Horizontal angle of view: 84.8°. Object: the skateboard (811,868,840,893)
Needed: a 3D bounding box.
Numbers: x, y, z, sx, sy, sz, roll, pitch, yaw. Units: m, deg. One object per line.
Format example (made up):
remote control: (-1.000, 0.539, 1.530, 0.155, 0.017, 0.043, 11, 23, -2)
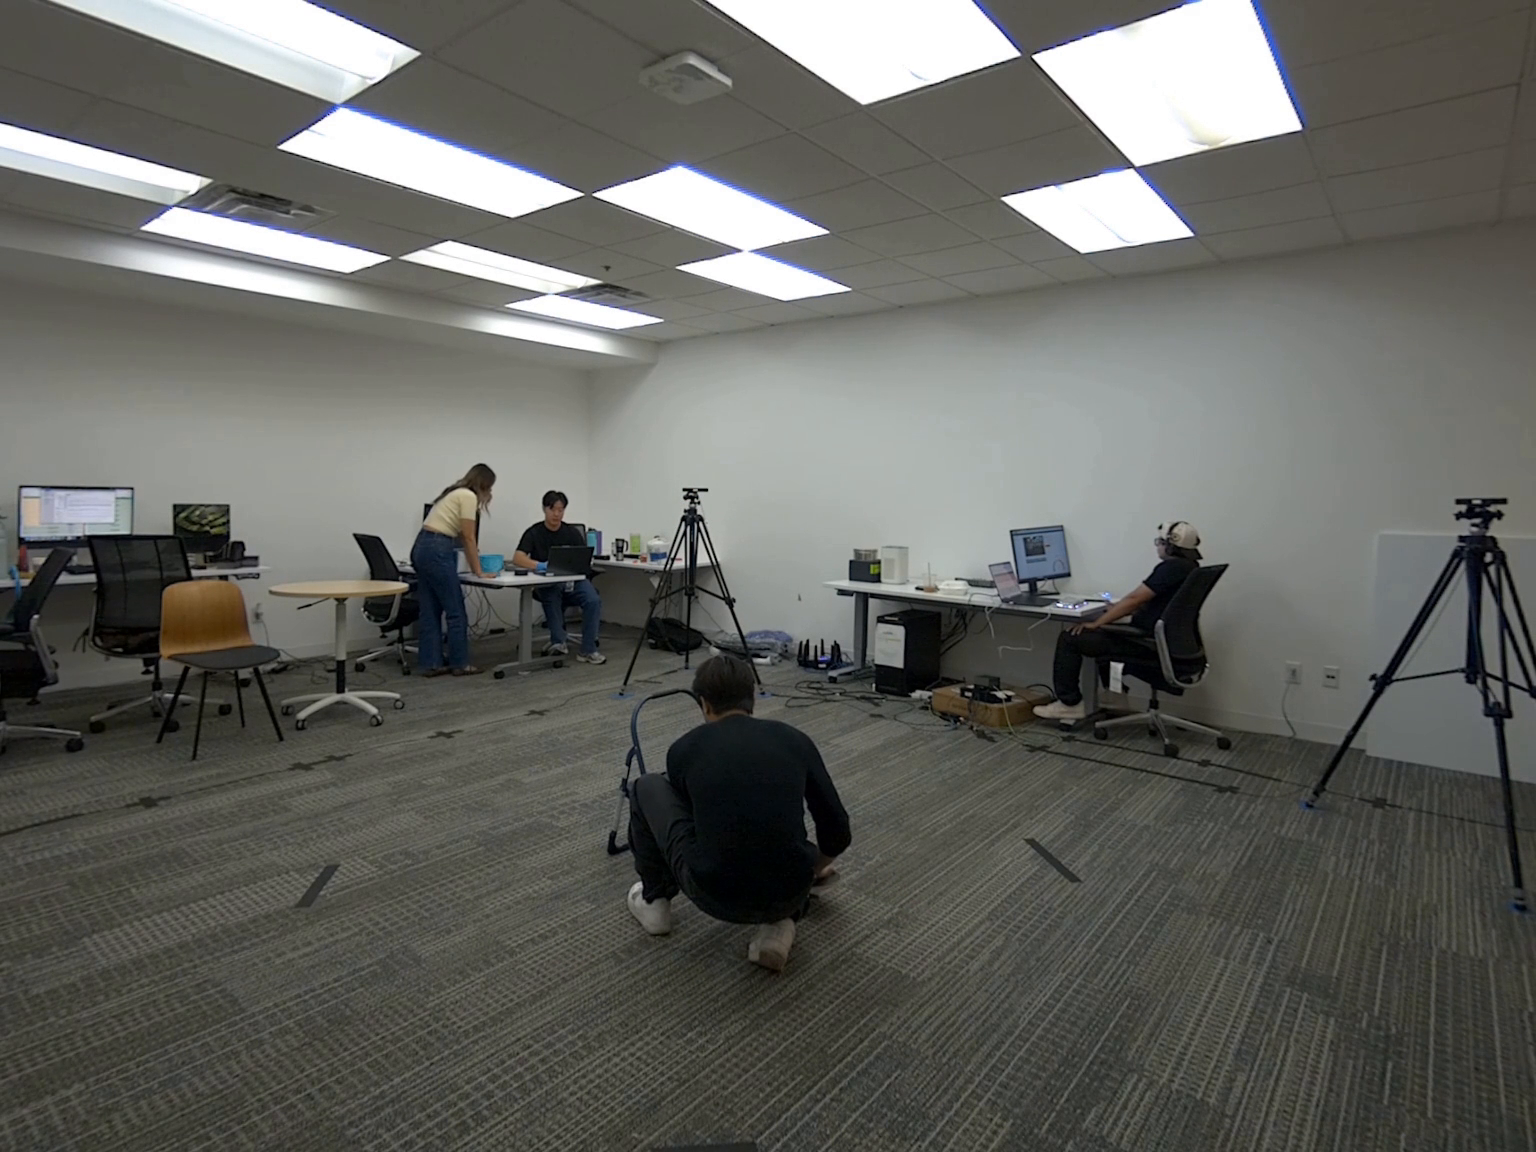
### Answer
skateboard: (-0.106, 1.010, 3.045, 0.812, 0.110, 0.188, 7, 7, 38)
